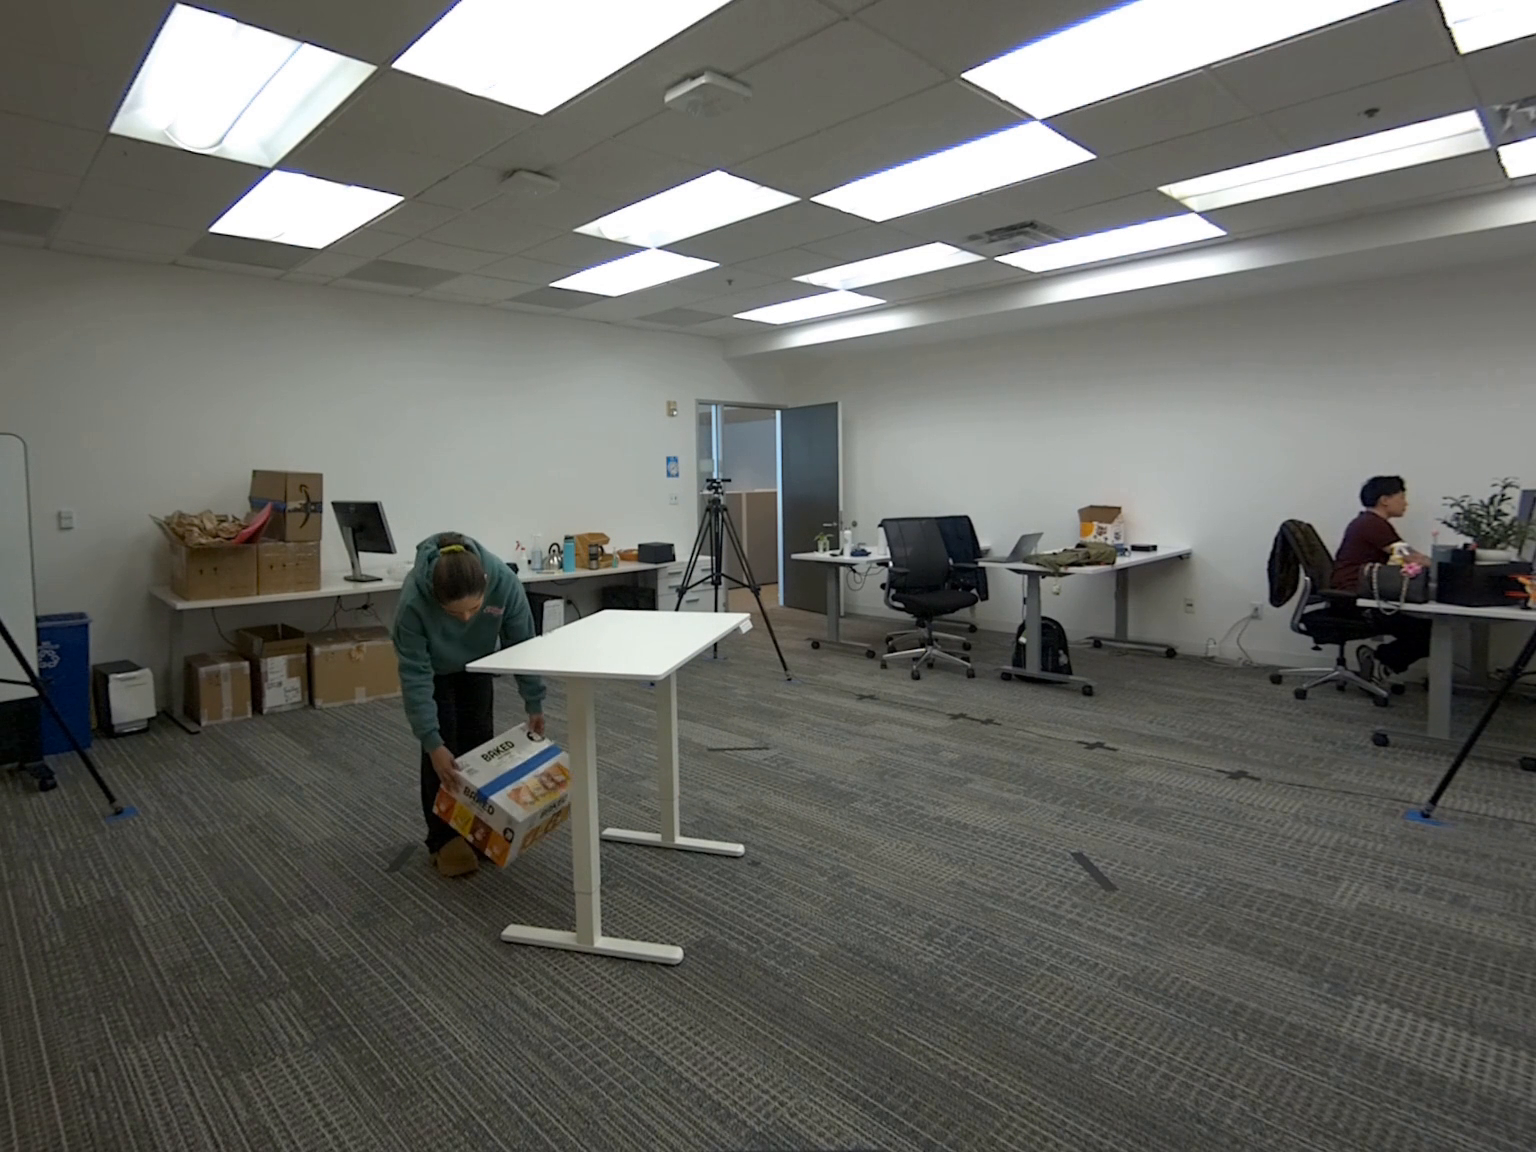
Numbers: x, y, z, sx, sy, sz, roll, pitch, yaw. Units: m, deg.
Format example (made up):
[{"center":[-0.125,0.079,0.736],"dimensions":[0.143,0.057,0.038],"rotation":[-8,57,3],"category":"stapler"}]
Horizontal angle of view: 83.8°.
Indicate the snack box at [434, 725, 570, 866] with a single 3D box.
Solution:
[{"center":[-0.893,0.755,3.010],"dimensions":[0.348,0.204,0.400],"rotation":[29,22,17],"category":"snack box"}]
